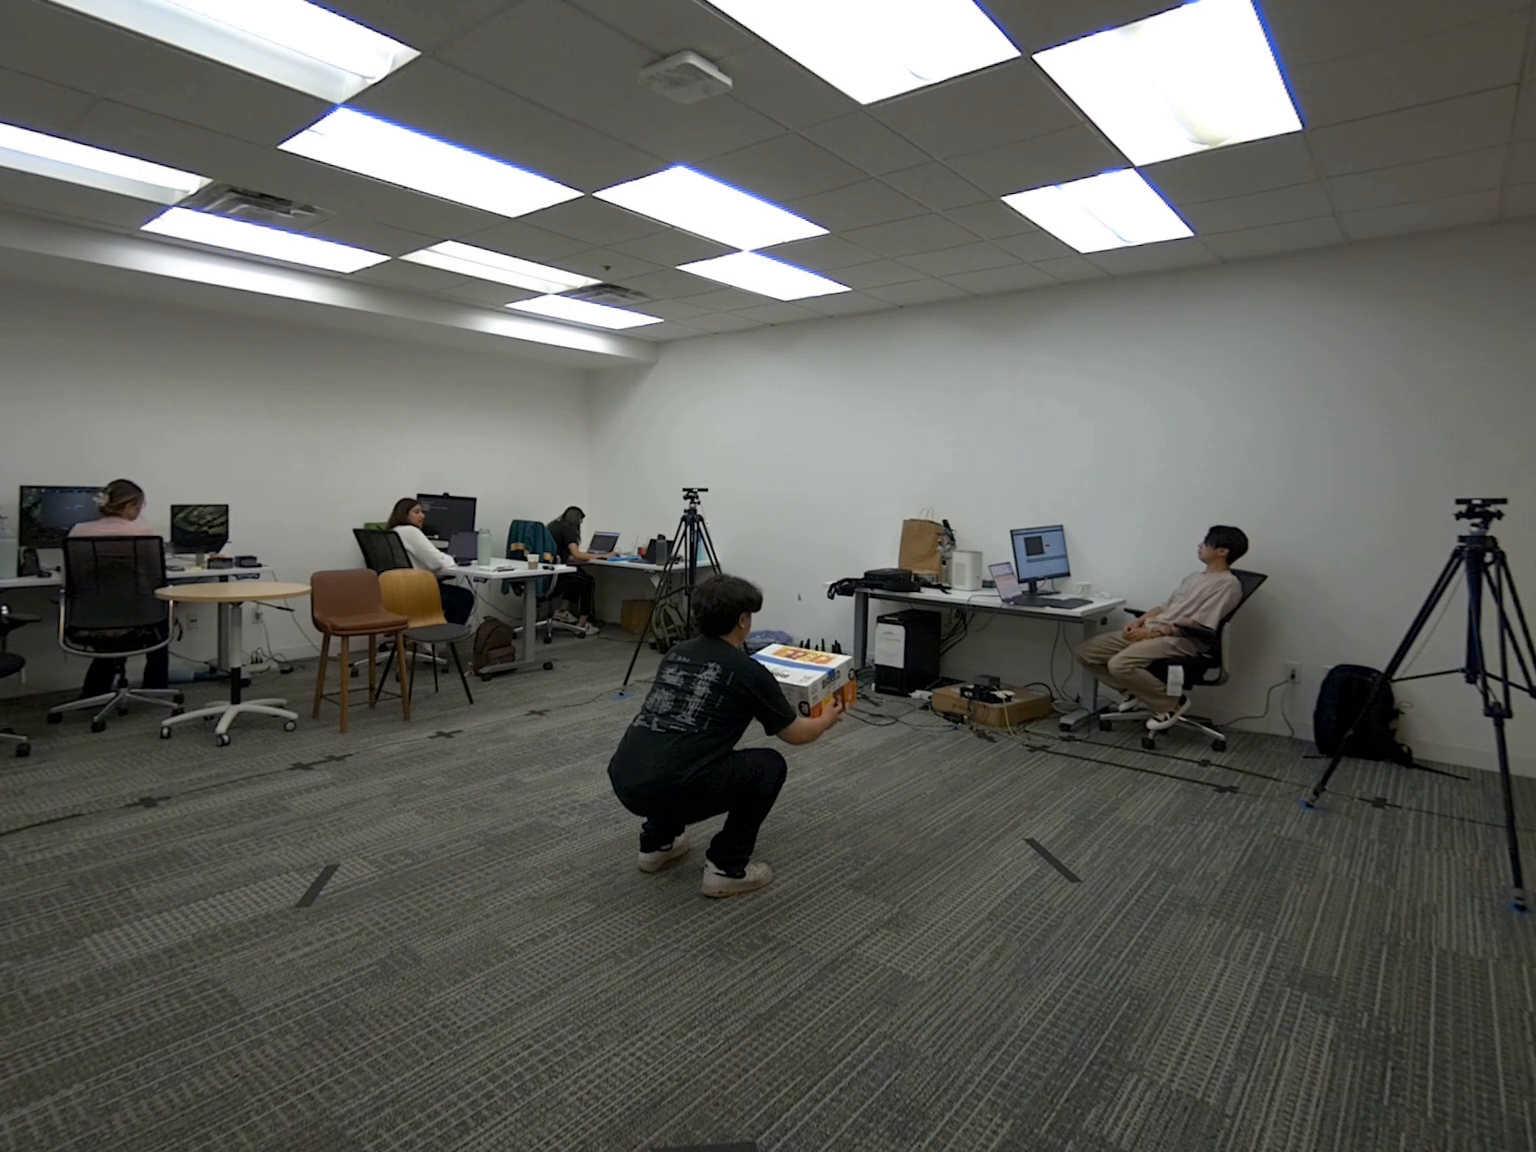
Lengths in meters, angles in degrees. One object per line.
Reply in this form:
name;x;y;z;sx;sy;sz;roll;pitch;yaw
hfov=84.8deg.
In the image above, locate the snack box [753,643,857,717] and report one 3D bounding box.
snack box;0.087;0.445;3.505;0.419;0.203;0.334;5;18;37
